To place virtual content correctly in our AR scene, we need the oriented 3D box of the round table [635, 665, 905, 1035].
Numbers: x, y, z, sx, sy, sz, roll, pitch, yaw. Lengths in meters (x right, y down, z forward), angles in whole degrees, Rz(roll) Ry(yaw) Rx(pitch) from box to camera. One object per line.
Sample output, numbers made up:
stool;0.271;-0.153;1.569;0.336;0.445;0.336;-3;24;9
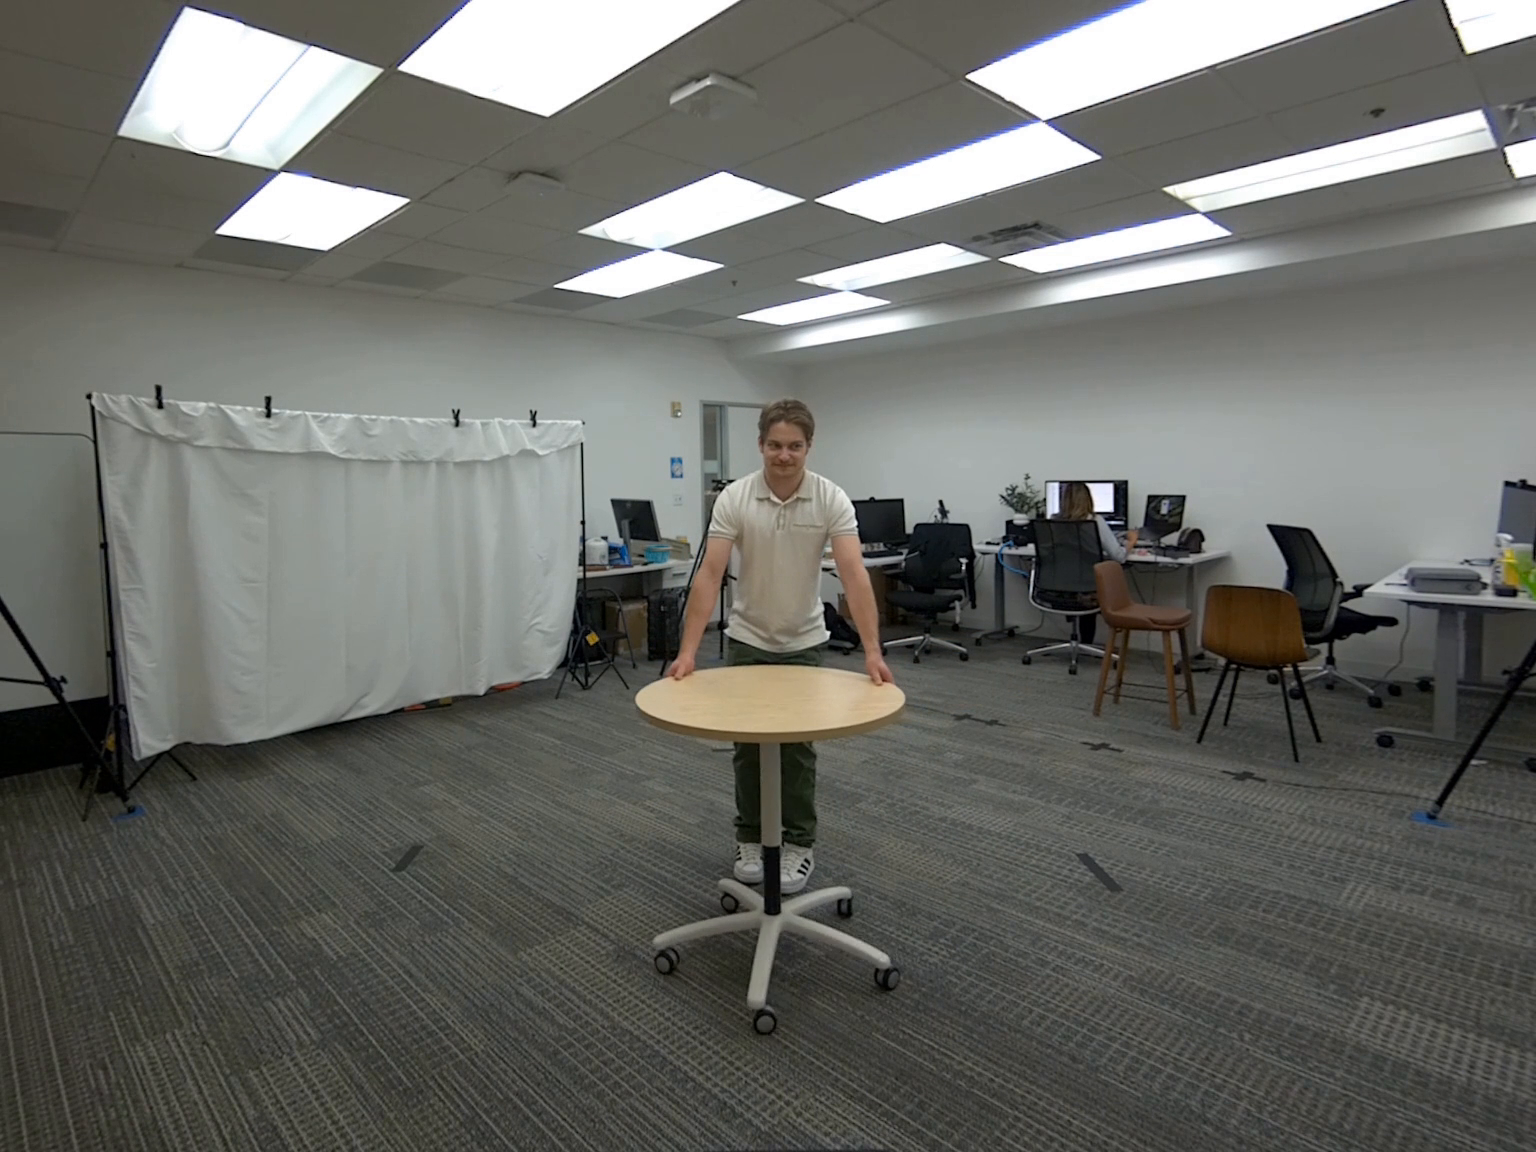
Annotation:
round table;0.013;0.734;2.476;0.763;0.791;0.768;-1;5;-2
